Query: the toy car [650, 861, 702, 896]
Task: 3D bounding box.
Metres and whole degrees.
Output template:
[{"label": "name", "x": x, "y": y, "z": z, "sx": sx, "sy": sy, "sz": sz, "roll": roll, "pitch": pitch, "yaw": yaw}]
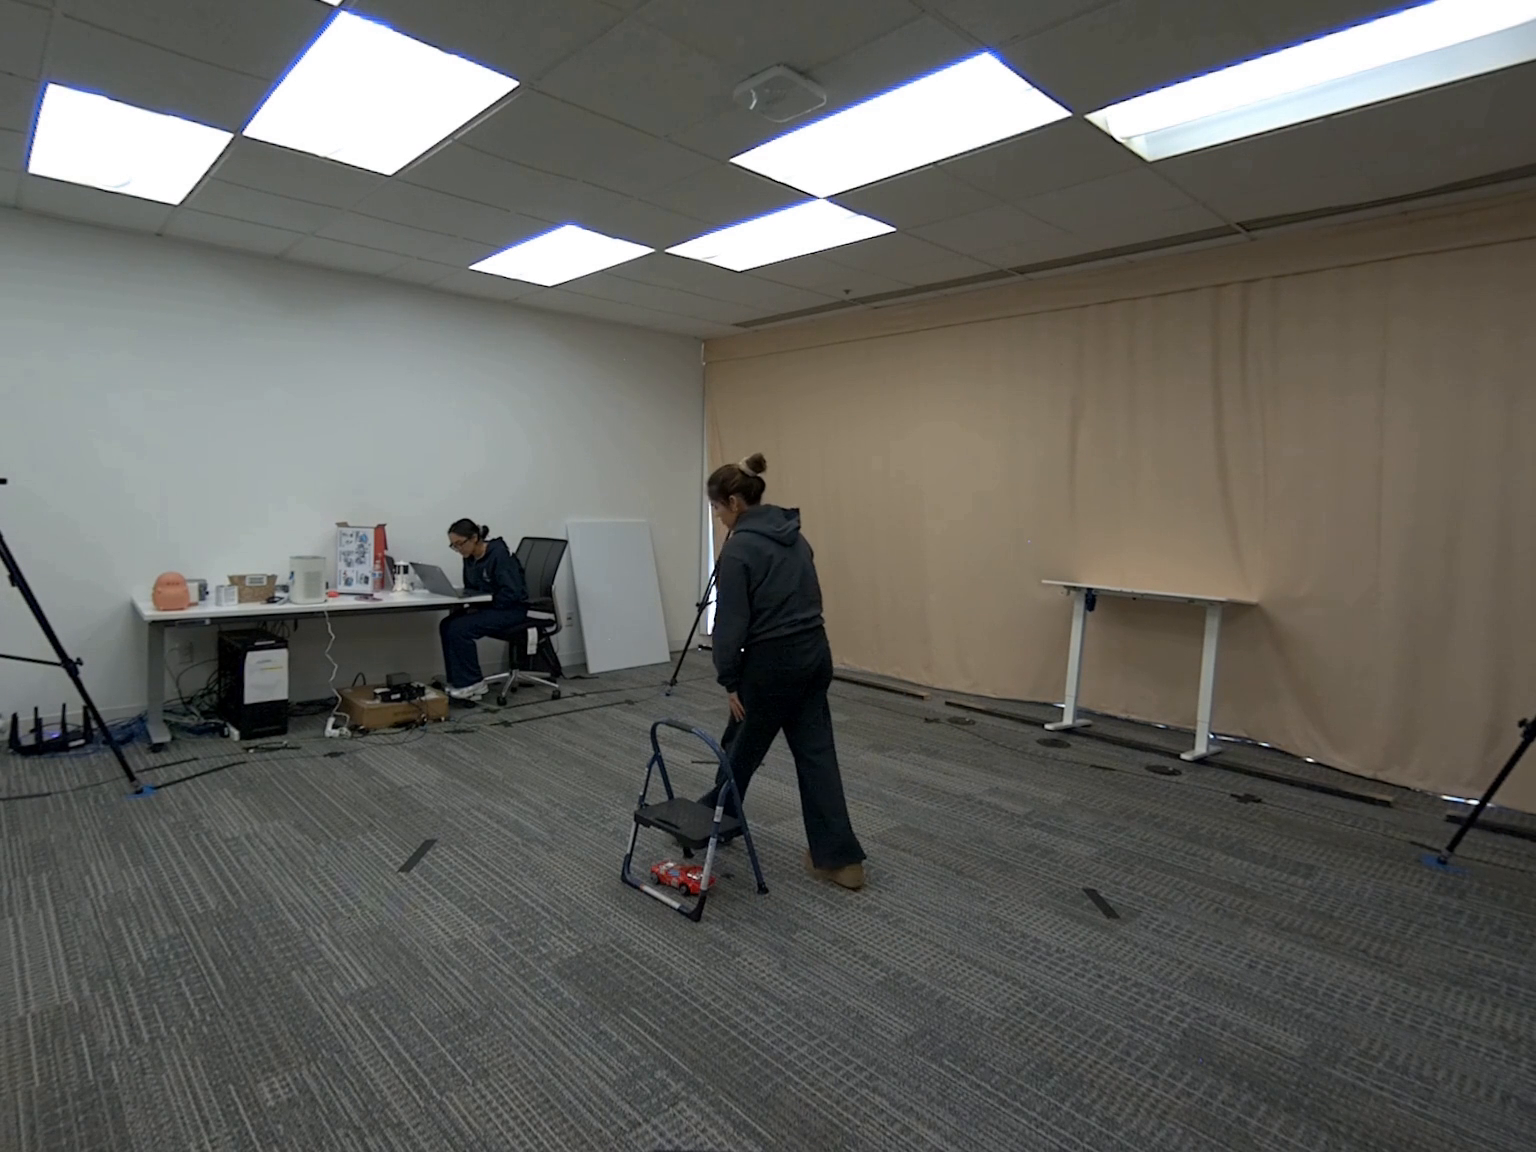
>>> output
[{"label": "toy car", "x": -0.314, "y": 1.086, "z": 3.009, "sx": 0.259, "sy": 0.083, "sz": 0.127, "roll": -8, "pitch": -2, "yaw": 37}]
